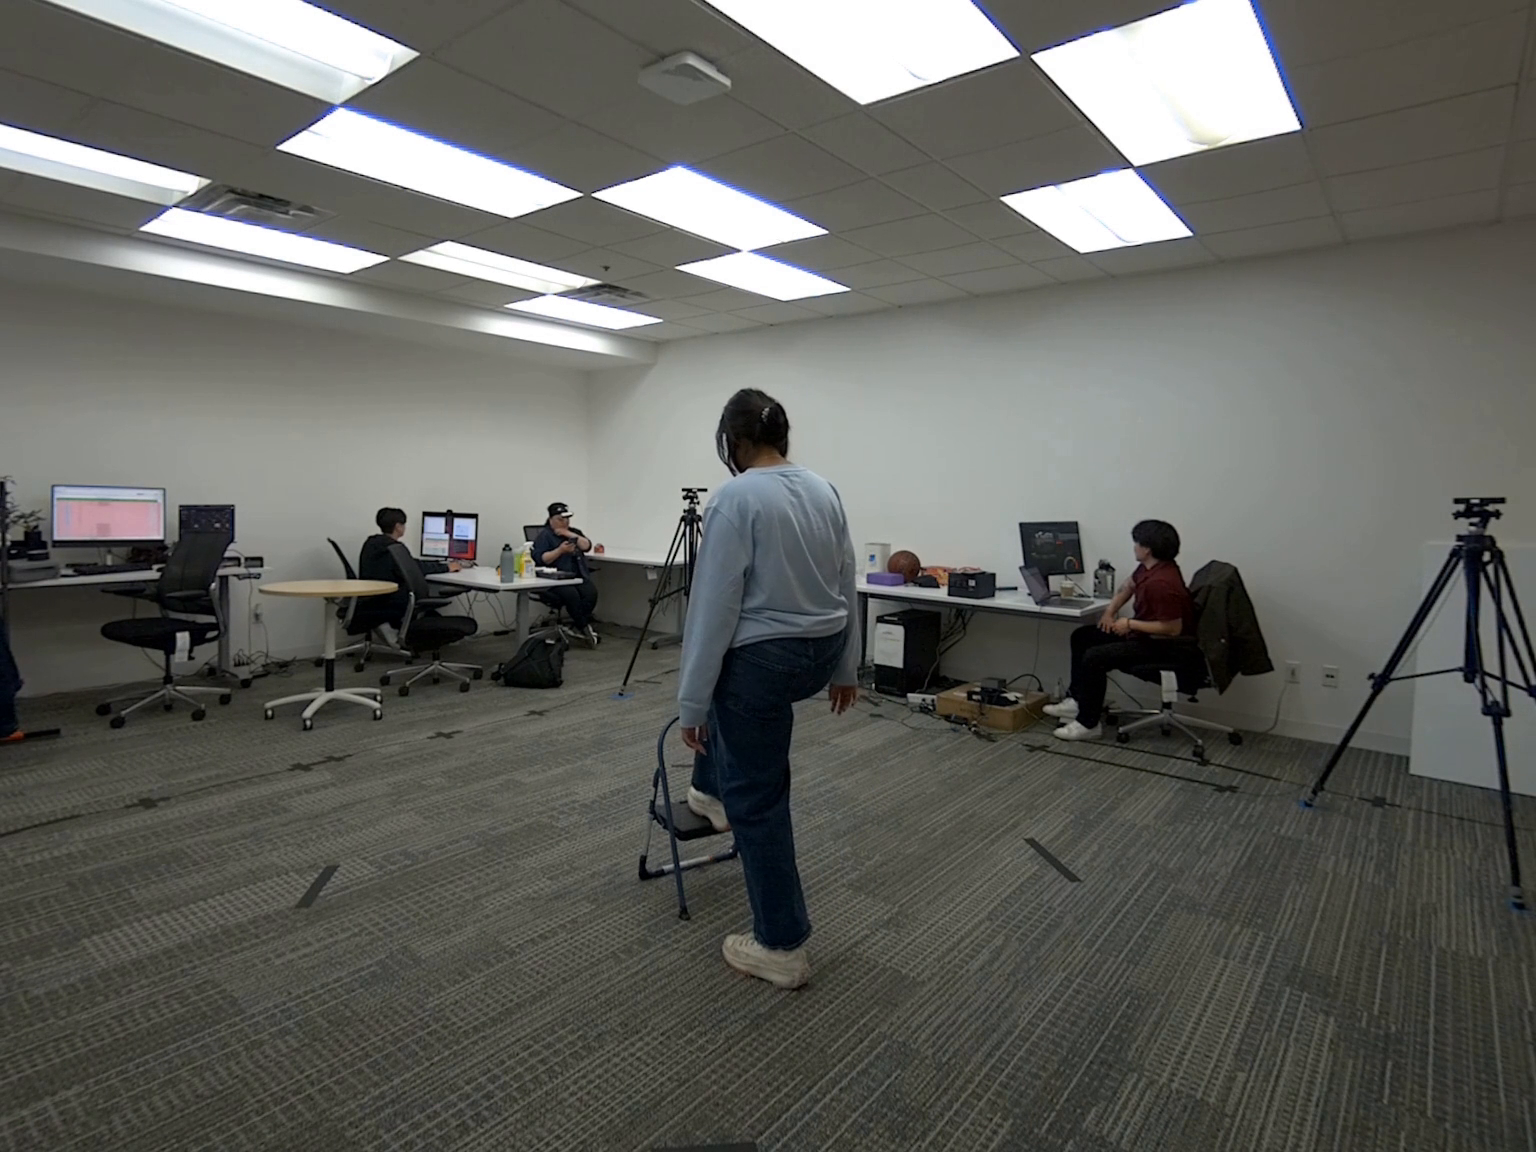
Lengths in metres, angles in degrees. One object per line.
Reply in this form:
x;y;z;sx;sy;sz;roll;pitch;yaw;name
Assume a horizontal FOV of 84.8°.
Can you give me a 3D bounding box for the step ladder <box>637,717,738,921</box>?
-0.200;0.783;2.976;0.418;0.604;0.360;-1;4;-34;step ladder
